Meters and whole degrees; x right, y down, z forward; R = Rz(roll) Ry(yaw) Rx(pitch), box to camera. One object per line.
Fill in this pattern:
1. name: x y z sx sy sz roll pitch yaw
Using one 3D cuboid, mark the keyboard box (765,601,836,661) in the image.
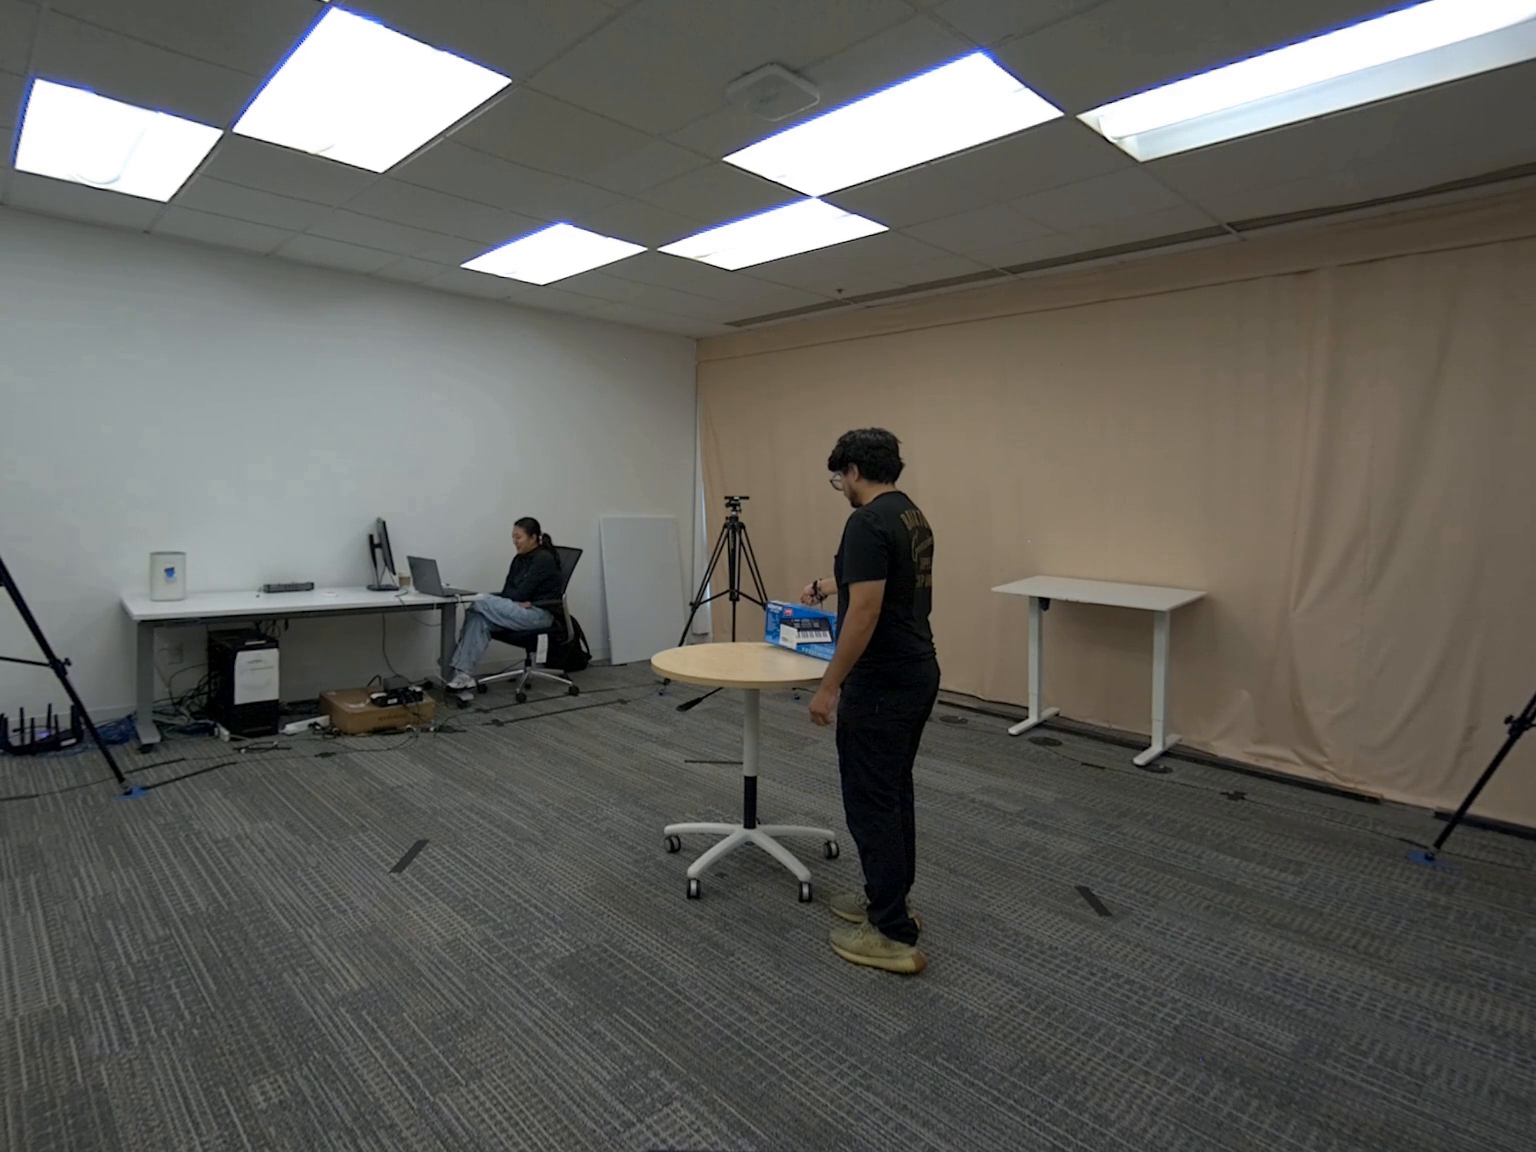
1. keyboard box: 0.144 0.214 3.292 0.058 0.175 0.448 -1 7 -38
